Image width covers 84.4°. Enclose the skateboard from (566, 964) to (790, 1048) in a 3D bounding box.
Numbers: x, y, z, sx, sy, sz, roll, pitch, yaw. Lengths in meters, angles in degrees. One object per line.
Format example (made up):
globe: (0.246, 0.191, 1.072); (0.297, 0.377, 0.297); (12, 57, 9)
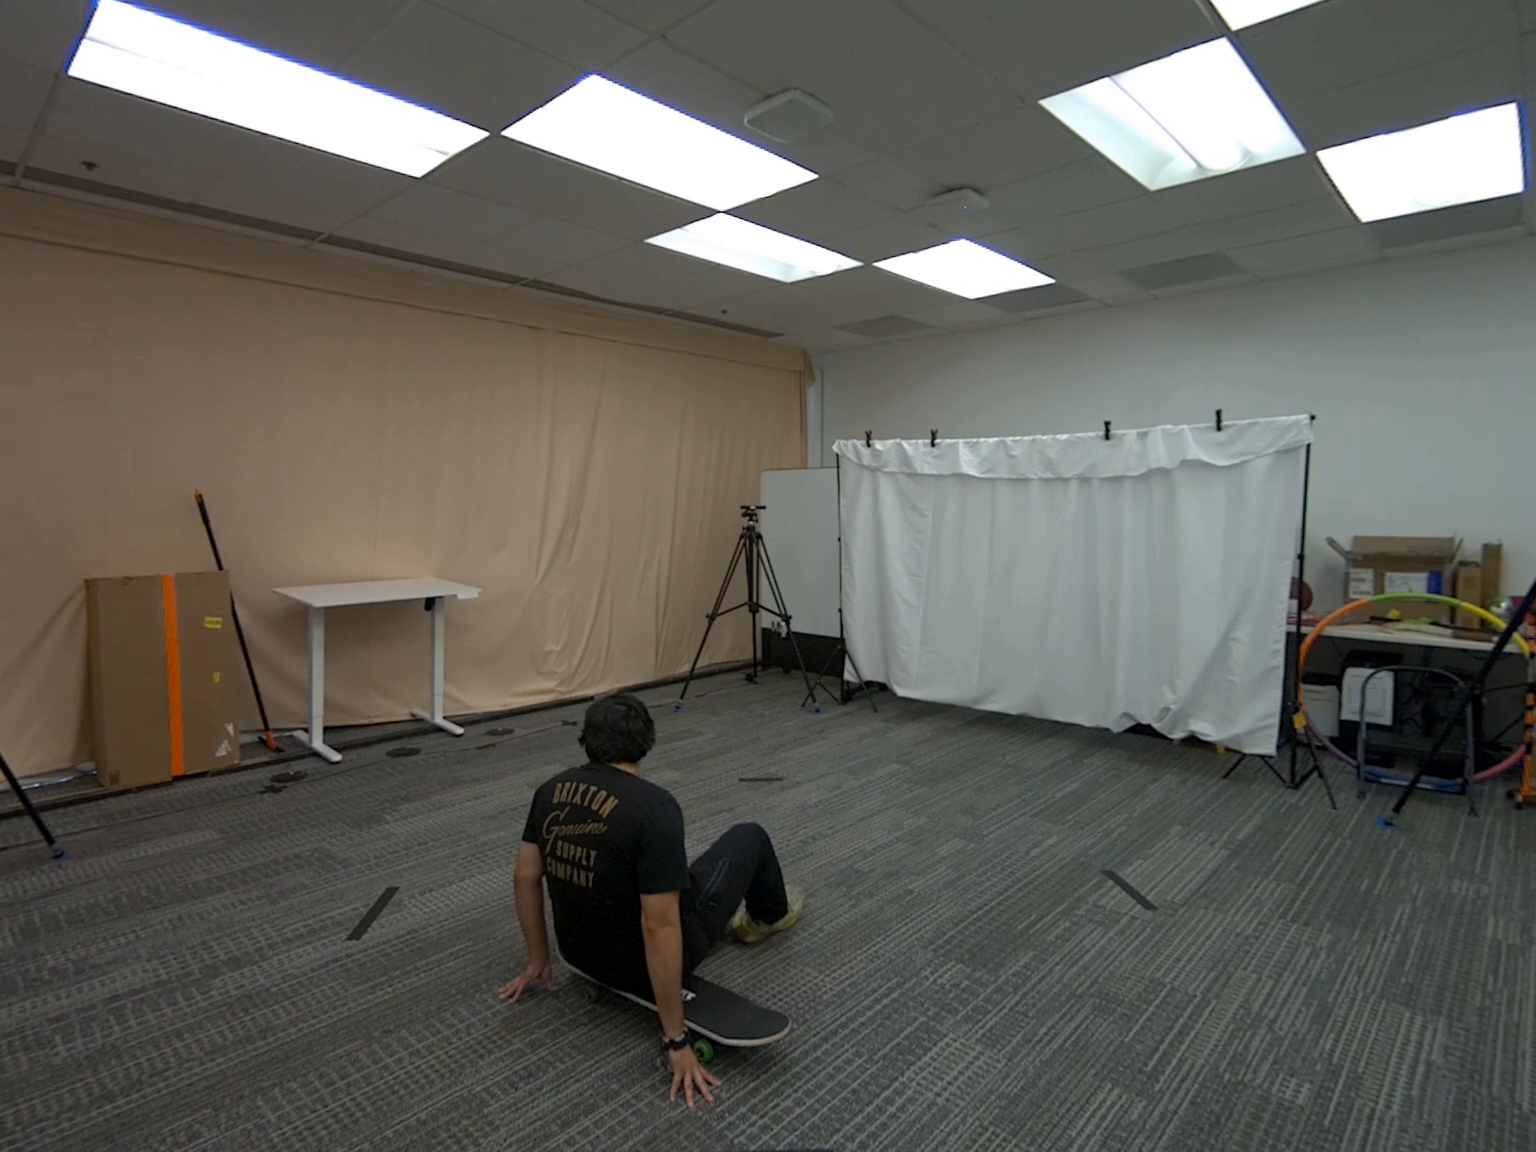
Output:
skateboard: (-0.283, 1.157, 2.291); (0.810, 0.110, 0.187); (2, 2, 38)
